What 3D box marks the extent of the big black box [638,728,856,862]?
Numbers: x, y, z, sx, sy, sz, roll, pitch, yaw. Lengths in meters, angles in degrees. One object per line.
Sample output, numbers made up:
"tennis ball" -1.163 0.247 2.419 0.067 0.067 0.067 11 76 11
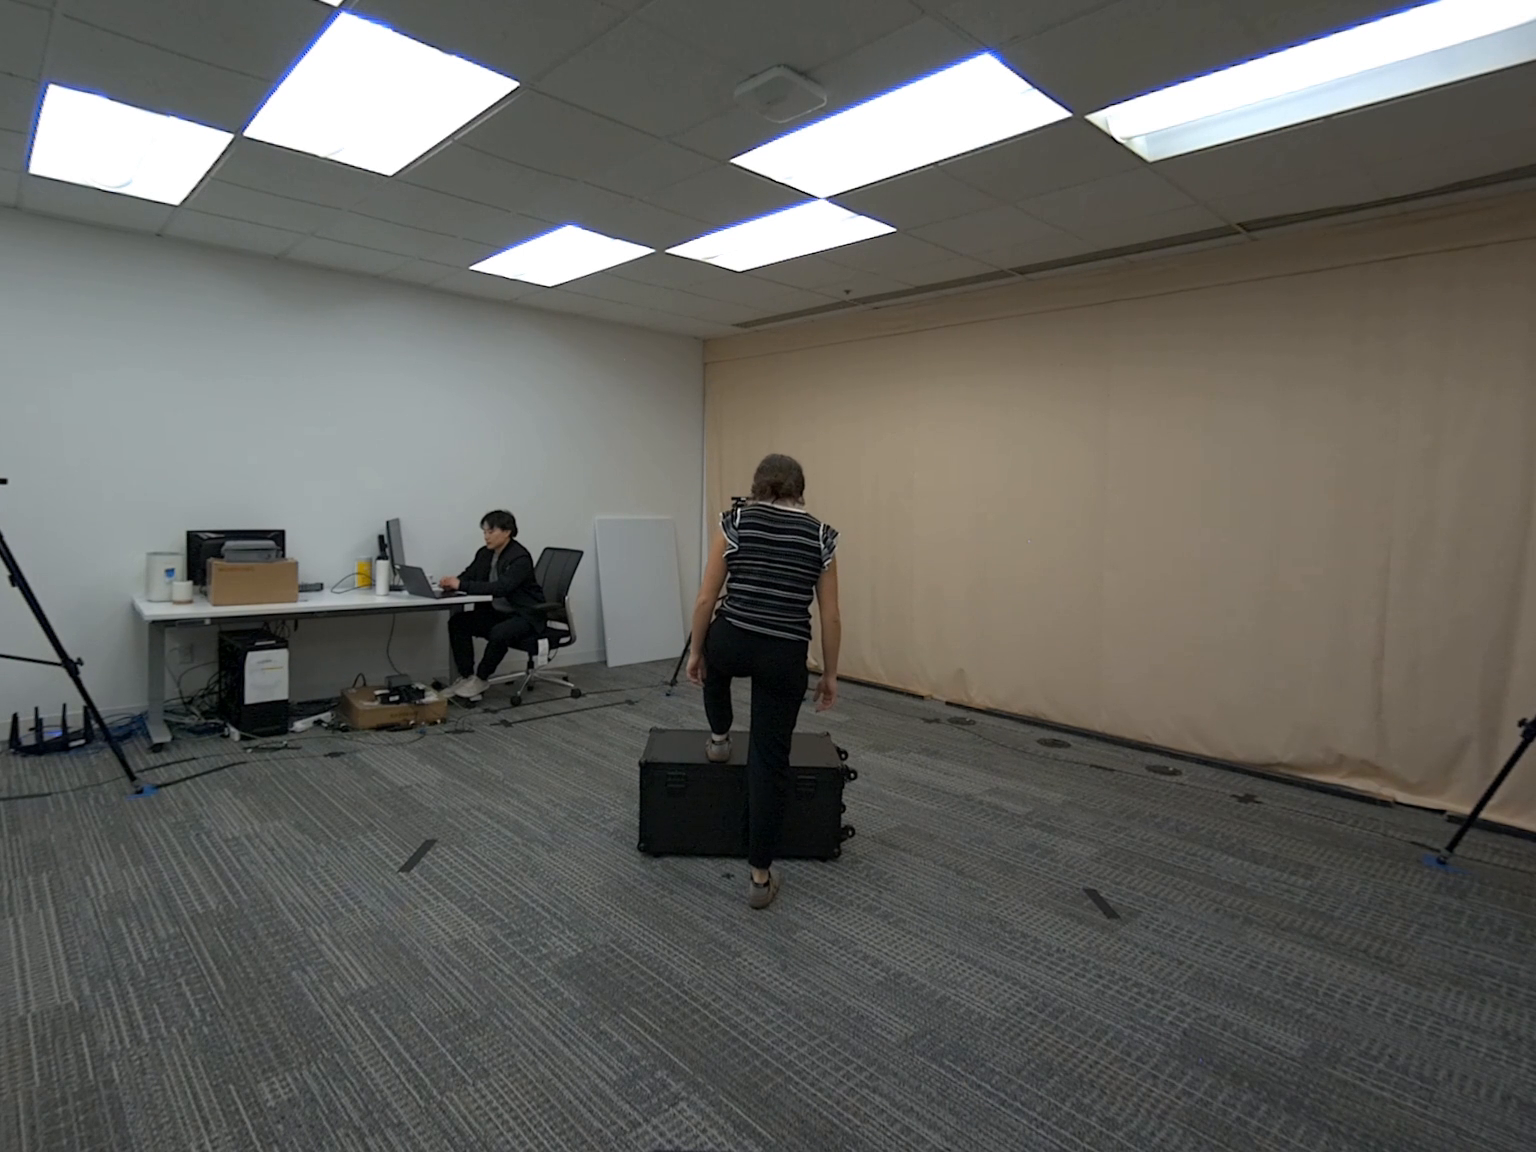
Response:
"big black box" -0.092 0.883 3.467 0.860 0.395 0.523 1 5 -2
